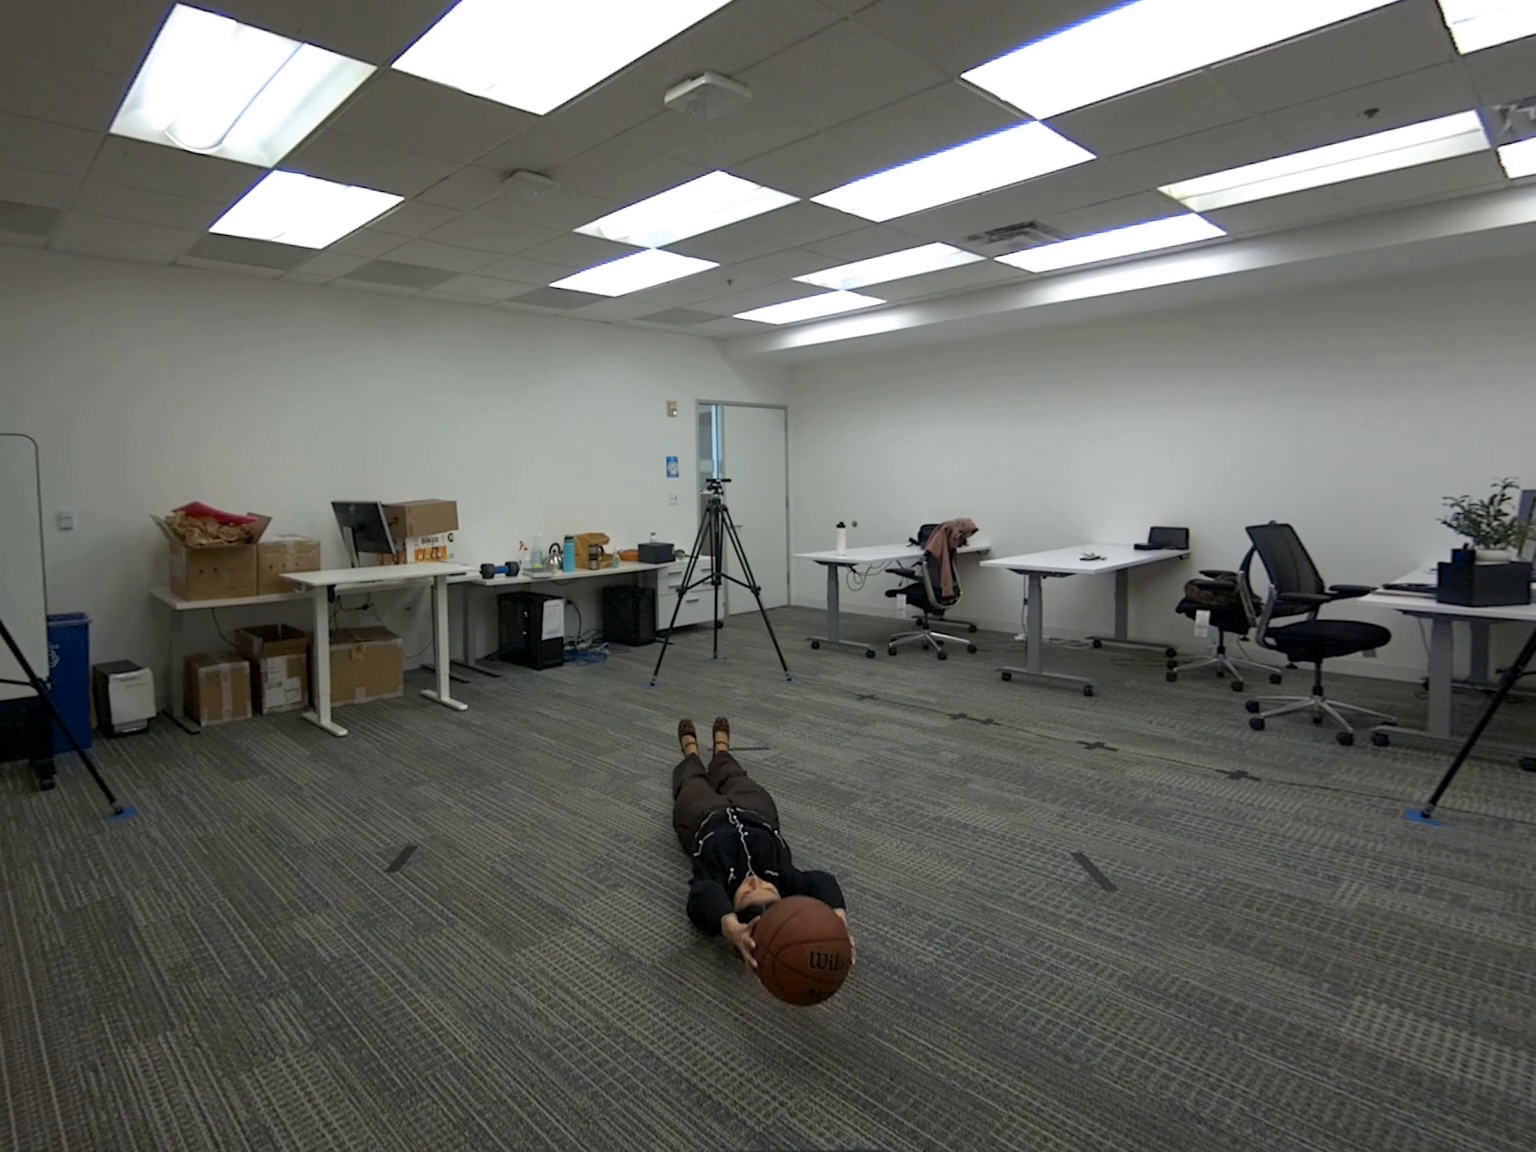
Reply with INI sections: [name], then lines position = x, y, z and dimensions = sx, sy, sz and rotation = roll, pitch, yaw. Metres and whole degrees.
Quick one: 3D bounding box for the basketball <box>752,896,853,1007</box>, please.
[basketball]
position = 0.090, 0.886, 2.034
dimensions = 0.236, 0.235, 0.237
rotation = -1, 5, -2
